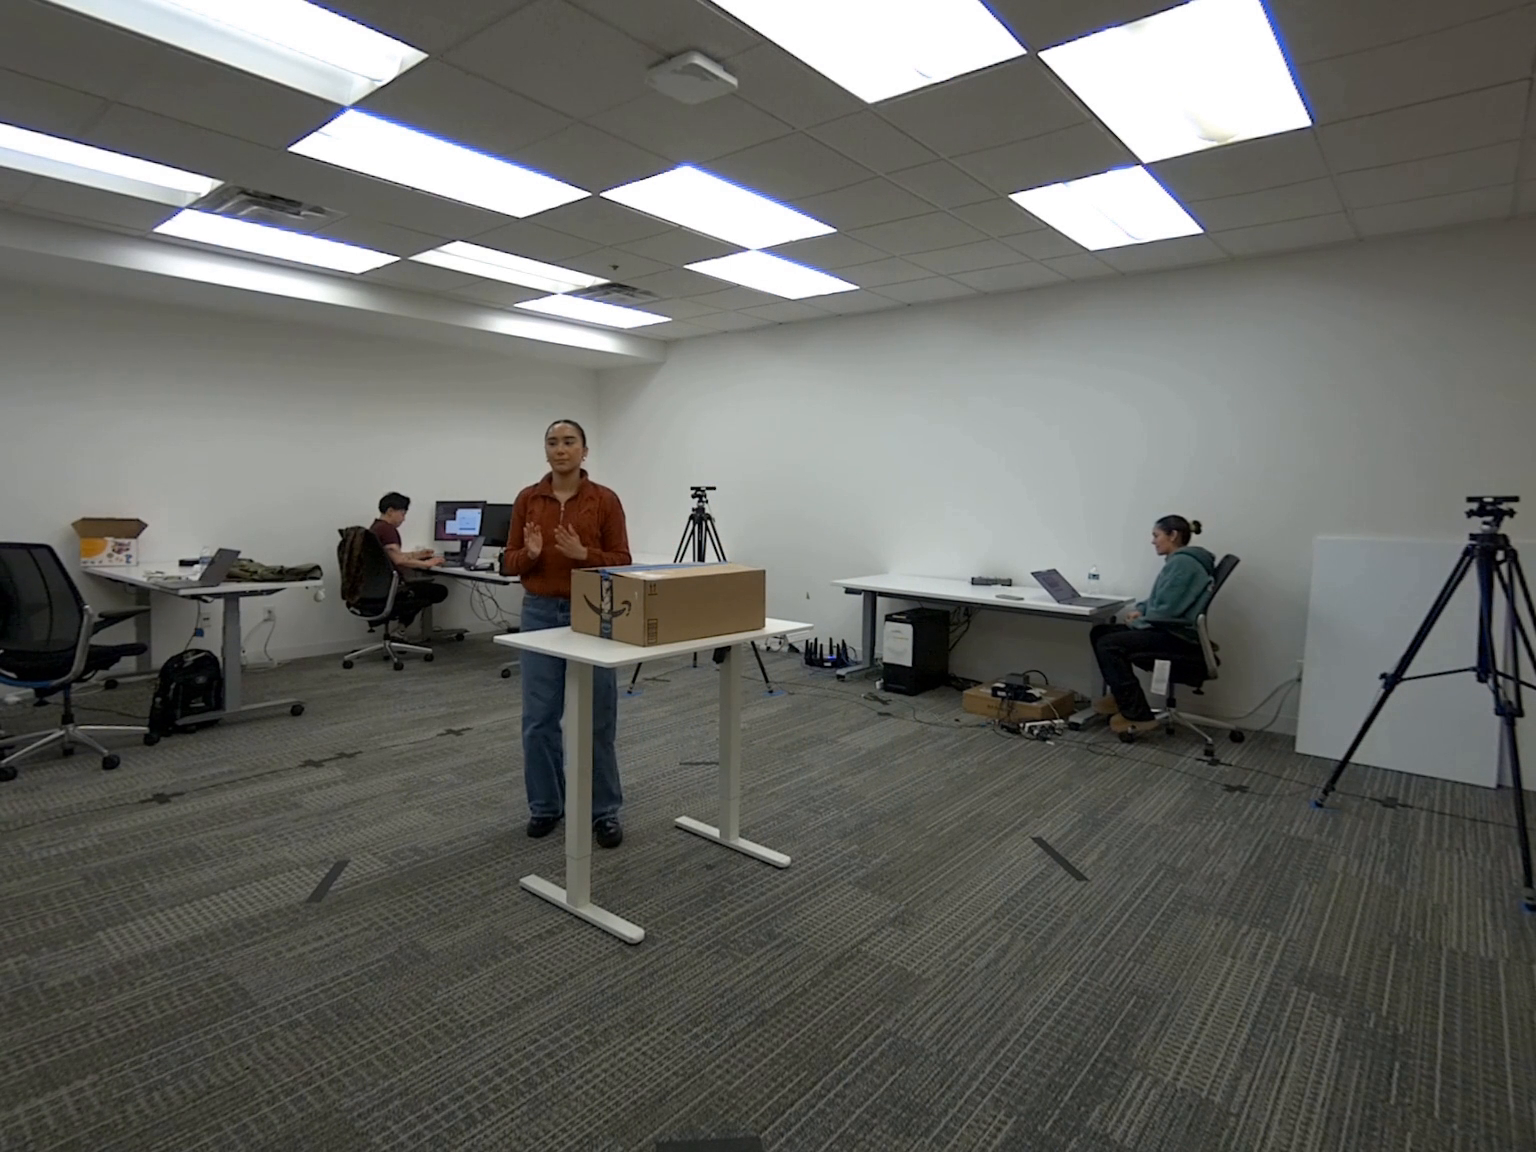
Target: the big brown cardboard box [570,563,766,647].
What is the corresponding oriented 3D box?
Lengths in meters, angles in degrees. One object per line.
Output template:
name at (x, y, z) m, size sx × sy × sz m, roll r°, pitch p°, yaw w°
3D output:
big brown cardboard box at (-0.360, 0.080, 3.014) m, size 0.432 × 0.232 × 0.571 m, roll 6°, pitch 6°, yaw 44°
